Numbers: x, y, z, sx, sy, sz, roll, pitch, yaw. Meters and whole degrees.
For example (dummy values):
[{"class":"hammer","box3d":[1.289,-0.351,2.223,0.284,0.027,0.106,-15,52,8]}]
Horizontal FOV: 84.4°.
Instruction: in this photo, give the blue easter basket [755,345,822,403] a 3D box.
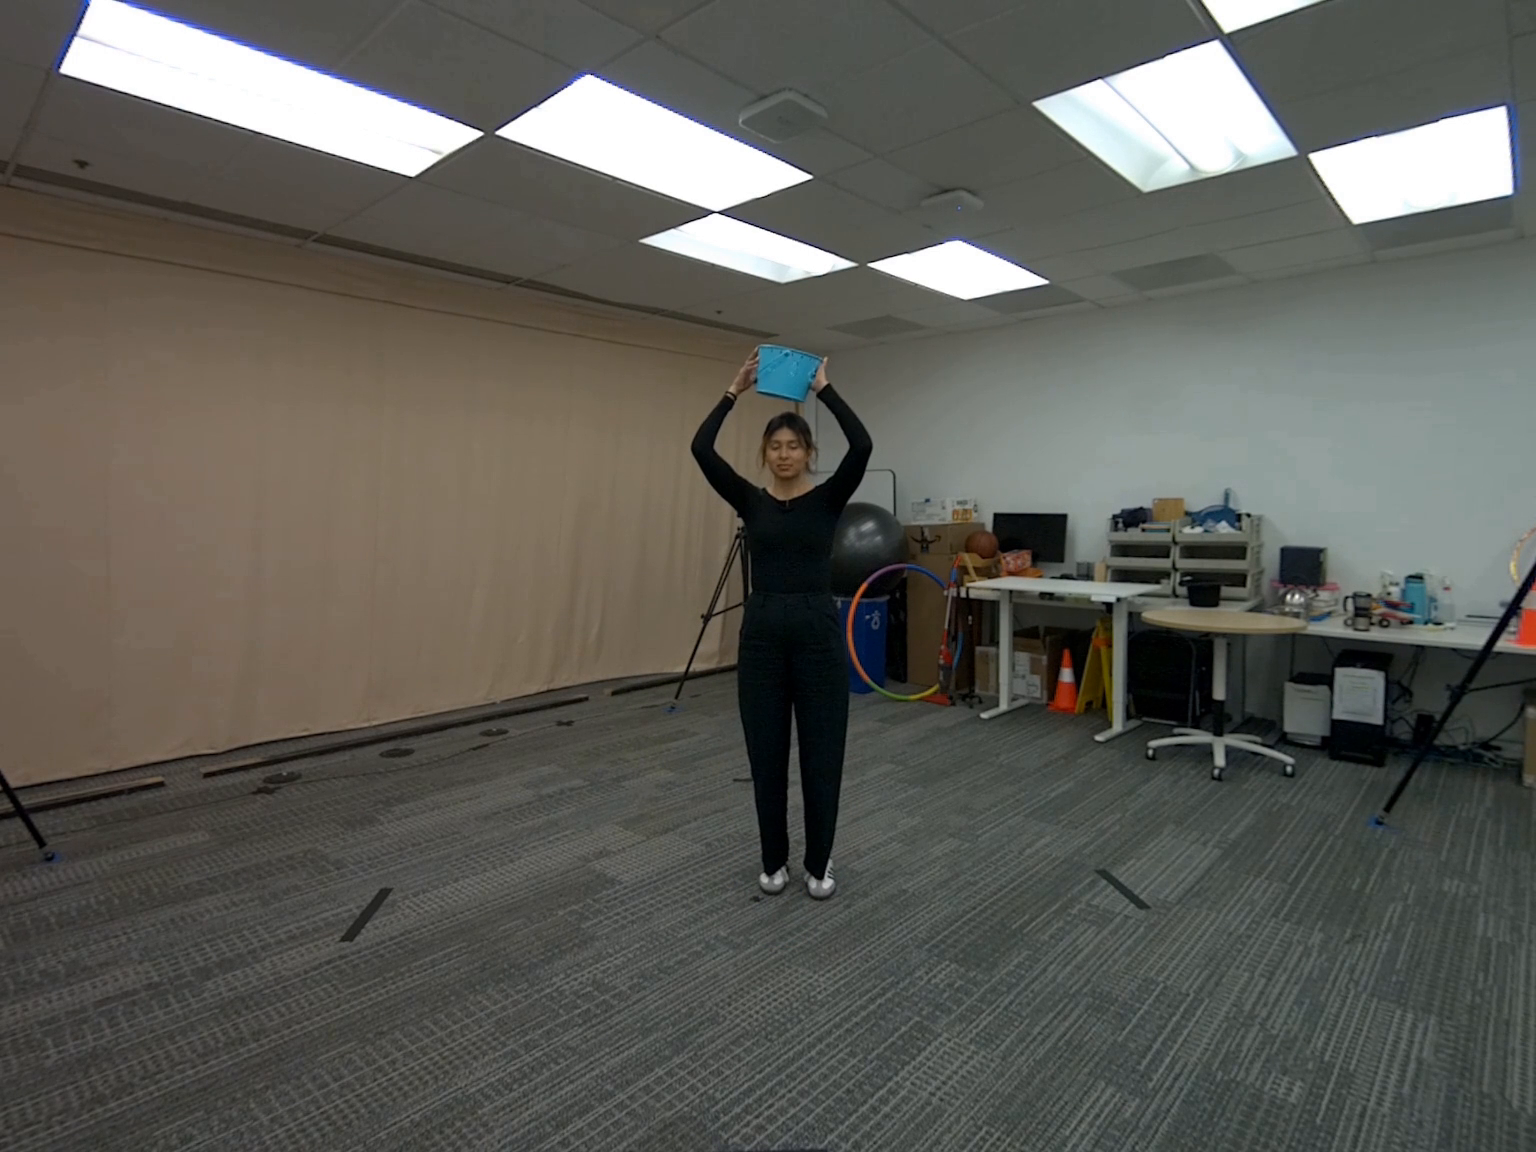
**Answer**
[{"class":"blue easter basket","box3d":[0.062,-0.698,2.904,0.243,0.155,0.245,13,8,-4]}]
